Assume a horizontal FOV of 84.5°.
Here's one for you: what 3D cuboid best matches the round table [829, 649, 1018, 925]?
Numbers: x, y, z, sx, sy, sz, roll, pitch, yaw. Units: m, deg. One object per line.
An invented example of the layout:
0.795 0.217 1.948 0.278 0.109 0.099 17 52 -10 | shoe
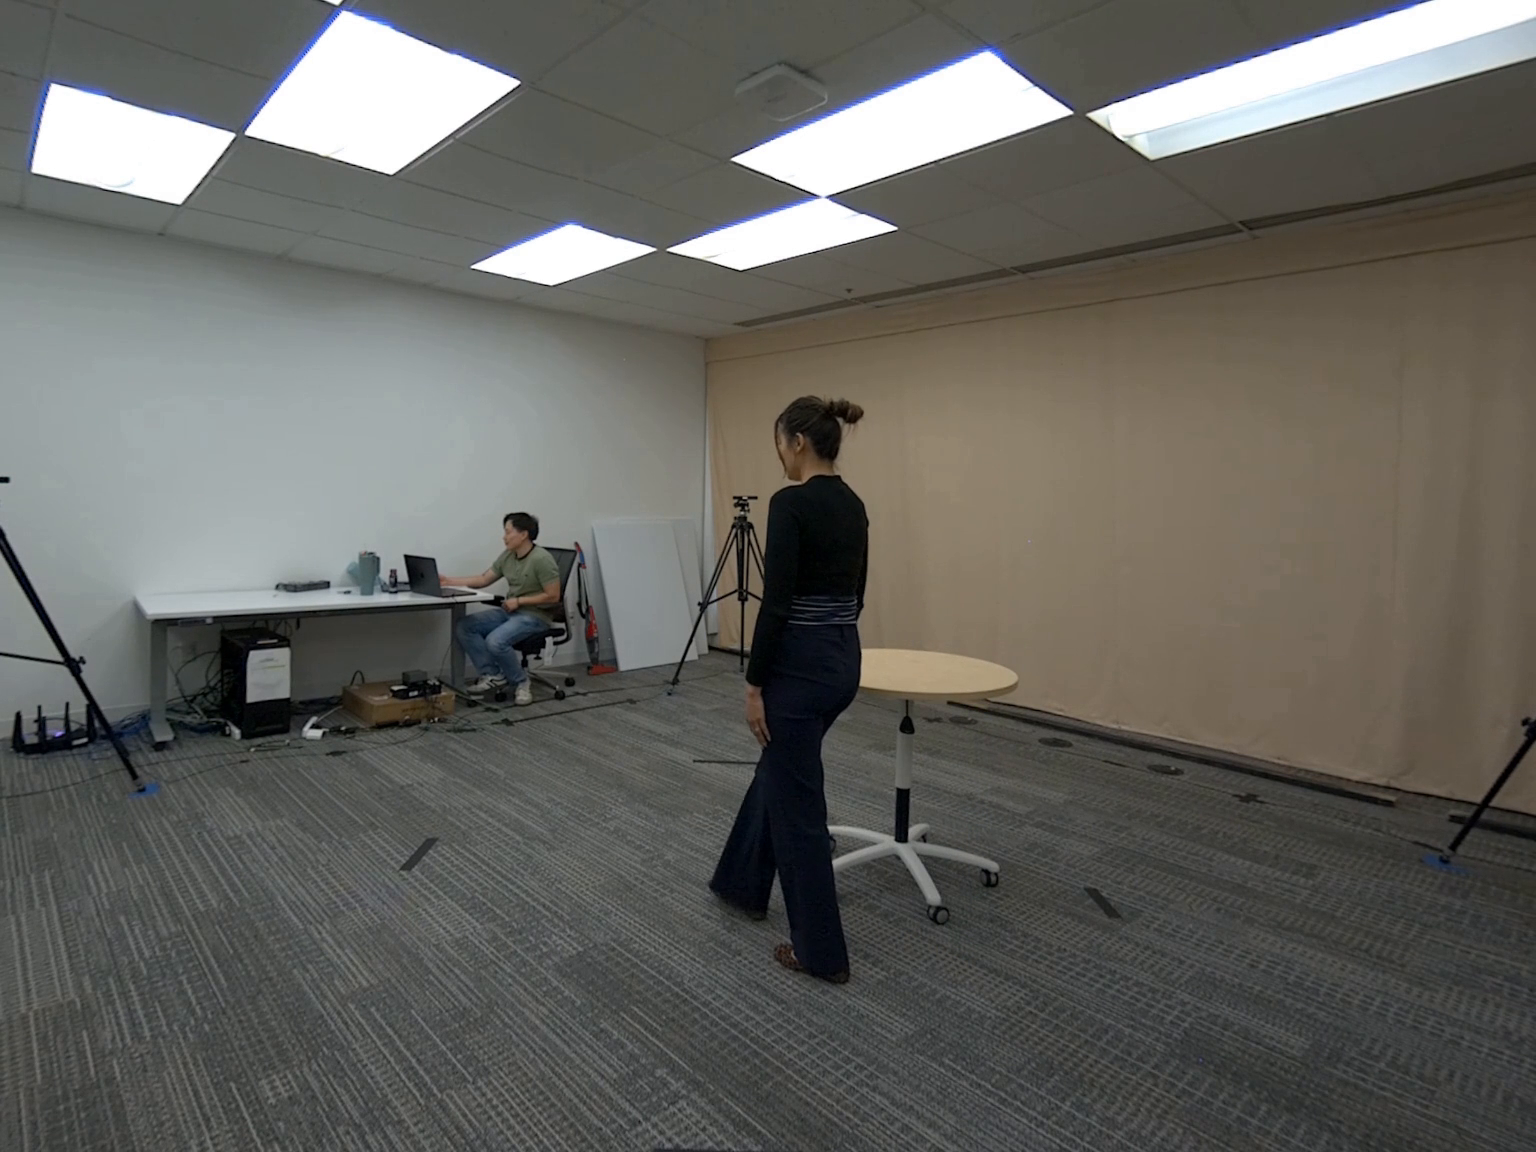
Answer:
0.492 0.729 3.093 0.763 0.792 0.767 2 4 -2 | round table
